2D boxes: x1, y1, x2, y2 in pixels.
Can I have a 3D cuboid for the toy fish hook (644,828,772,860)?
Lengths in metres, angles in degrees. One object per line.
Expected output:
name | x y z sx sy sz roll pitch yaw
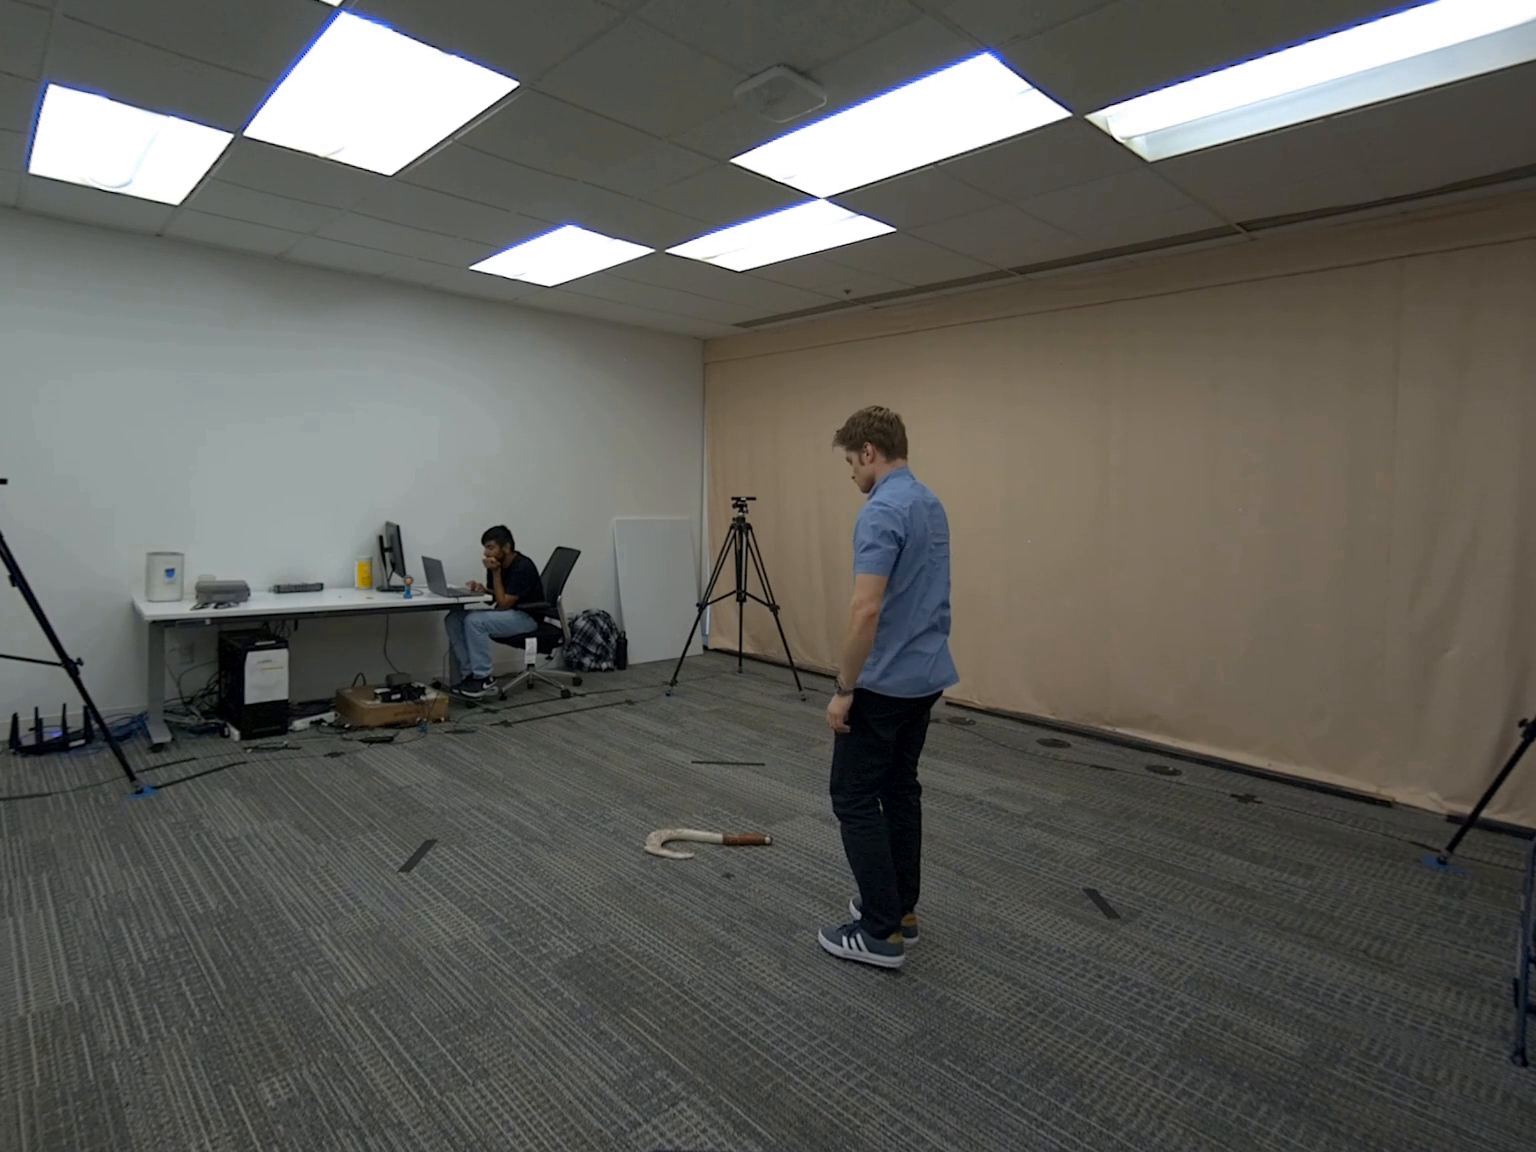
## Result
toy fish hook | -0.240 1.067 3.340 0.506 0.048 0.227 1 13 -1
